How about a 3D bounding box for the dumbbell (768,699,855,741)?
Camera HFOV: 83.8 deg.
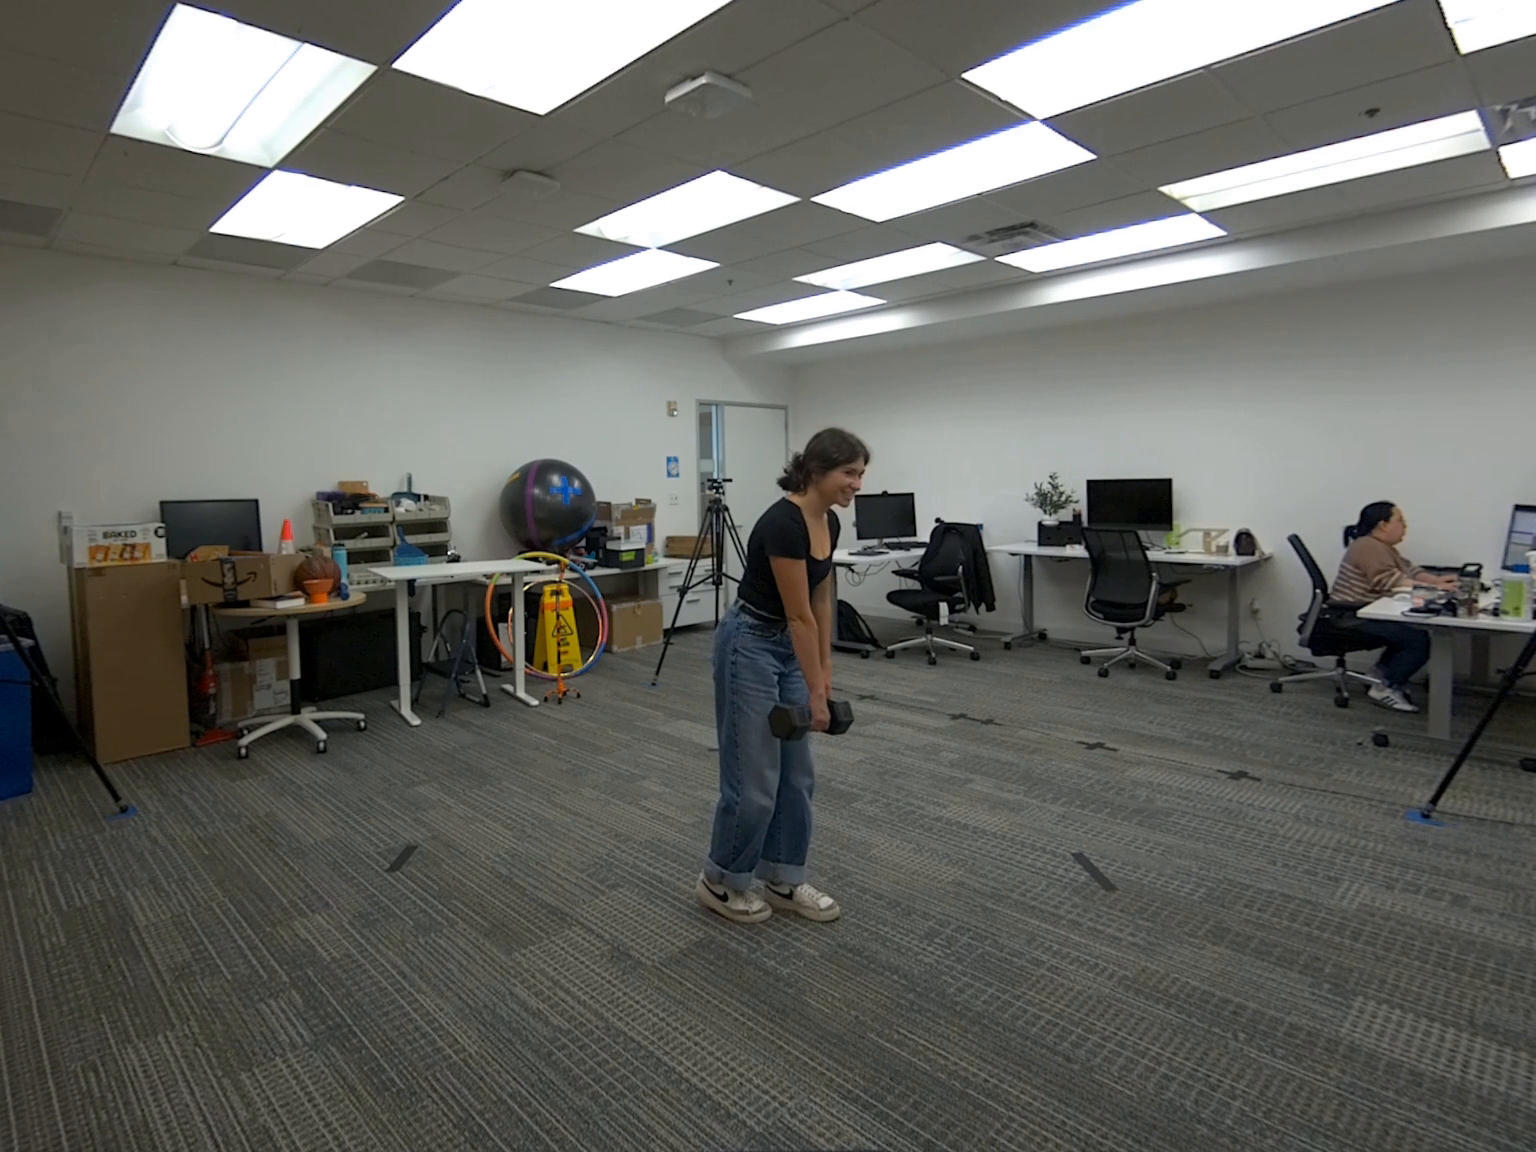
[{"bbox_3d":[0.132,0.442,2.625,0.285,0.122,0.113,2,35,-47],"label":"dumbbell"}]
